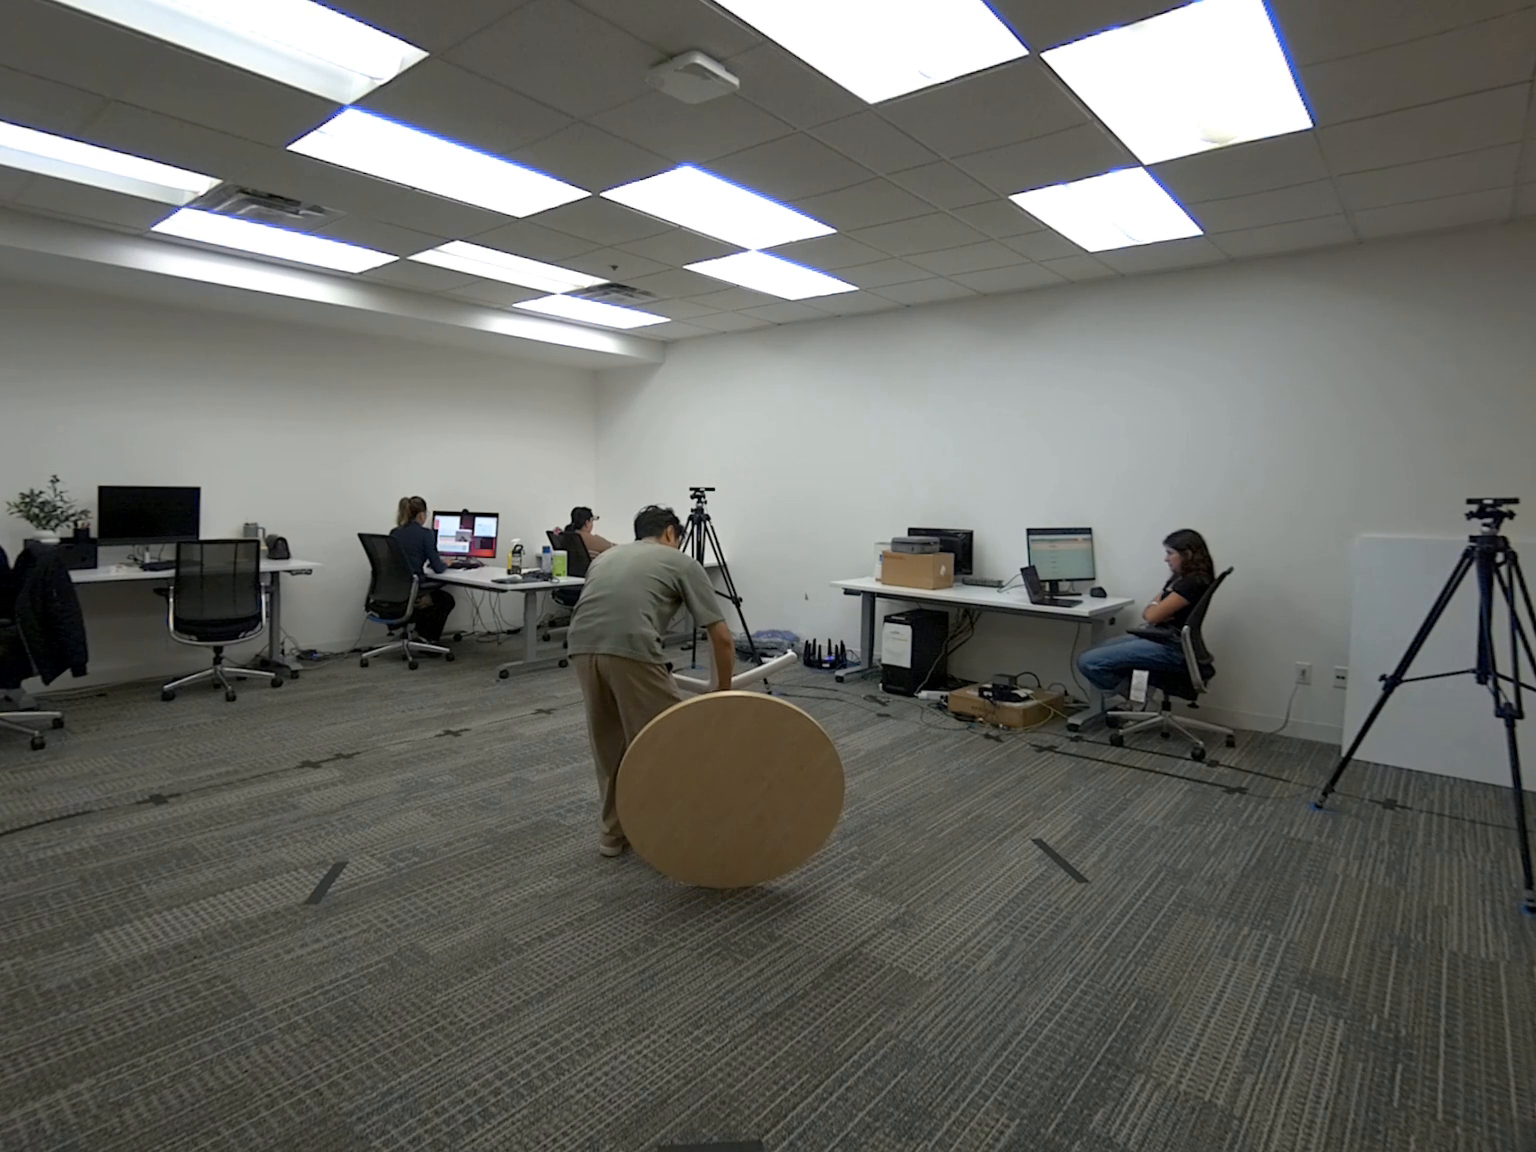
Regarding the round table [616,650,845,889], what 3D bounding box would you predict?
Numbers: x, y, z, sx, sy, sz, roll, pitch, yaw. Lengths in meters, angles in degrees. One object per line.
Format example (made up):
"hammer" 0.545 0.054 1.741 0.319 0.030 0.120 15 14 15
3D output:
"round table" -0.173 0.567 3.201 0.781 0.771 0.805 1 21 -6
